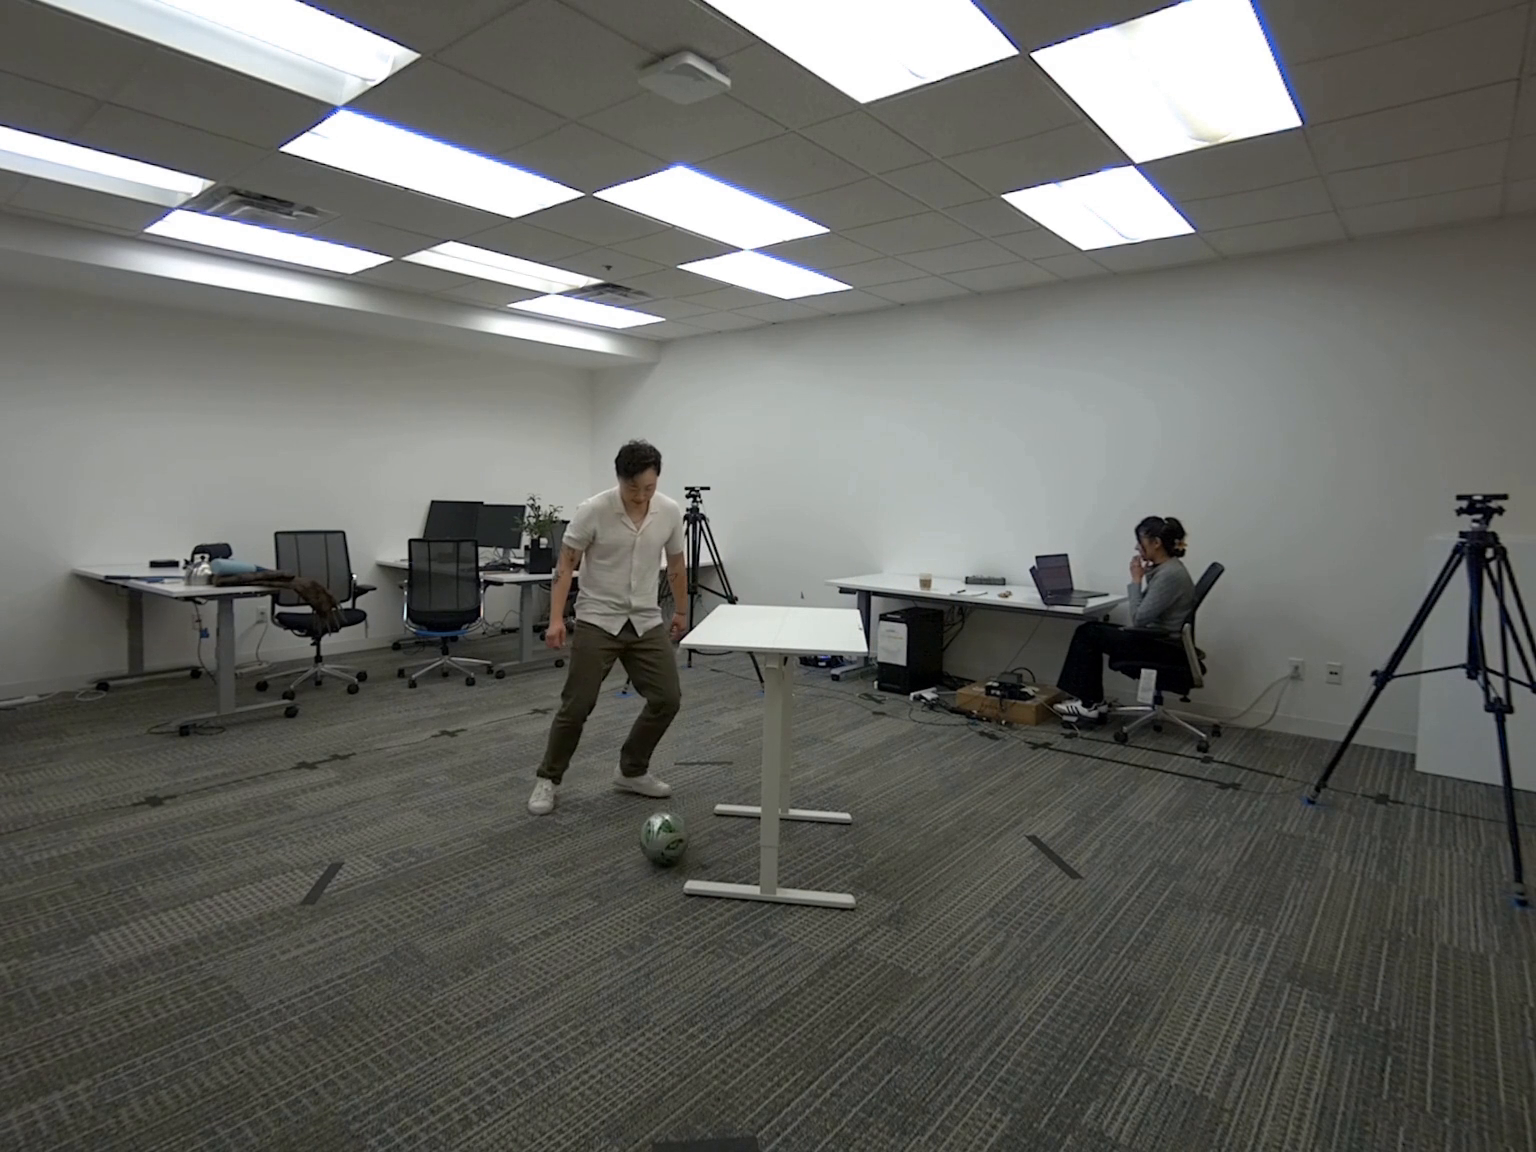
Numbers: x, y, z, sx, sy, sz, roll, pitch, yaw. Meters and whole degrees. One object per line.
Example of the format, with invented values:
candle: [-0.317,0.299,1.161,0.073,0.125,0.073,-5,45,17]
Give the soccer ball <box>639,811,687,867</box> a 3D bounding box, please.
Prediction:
soccer ball: [-0.393,0.964,3.147,0.187,0.187,0.188,1,4,-2]
